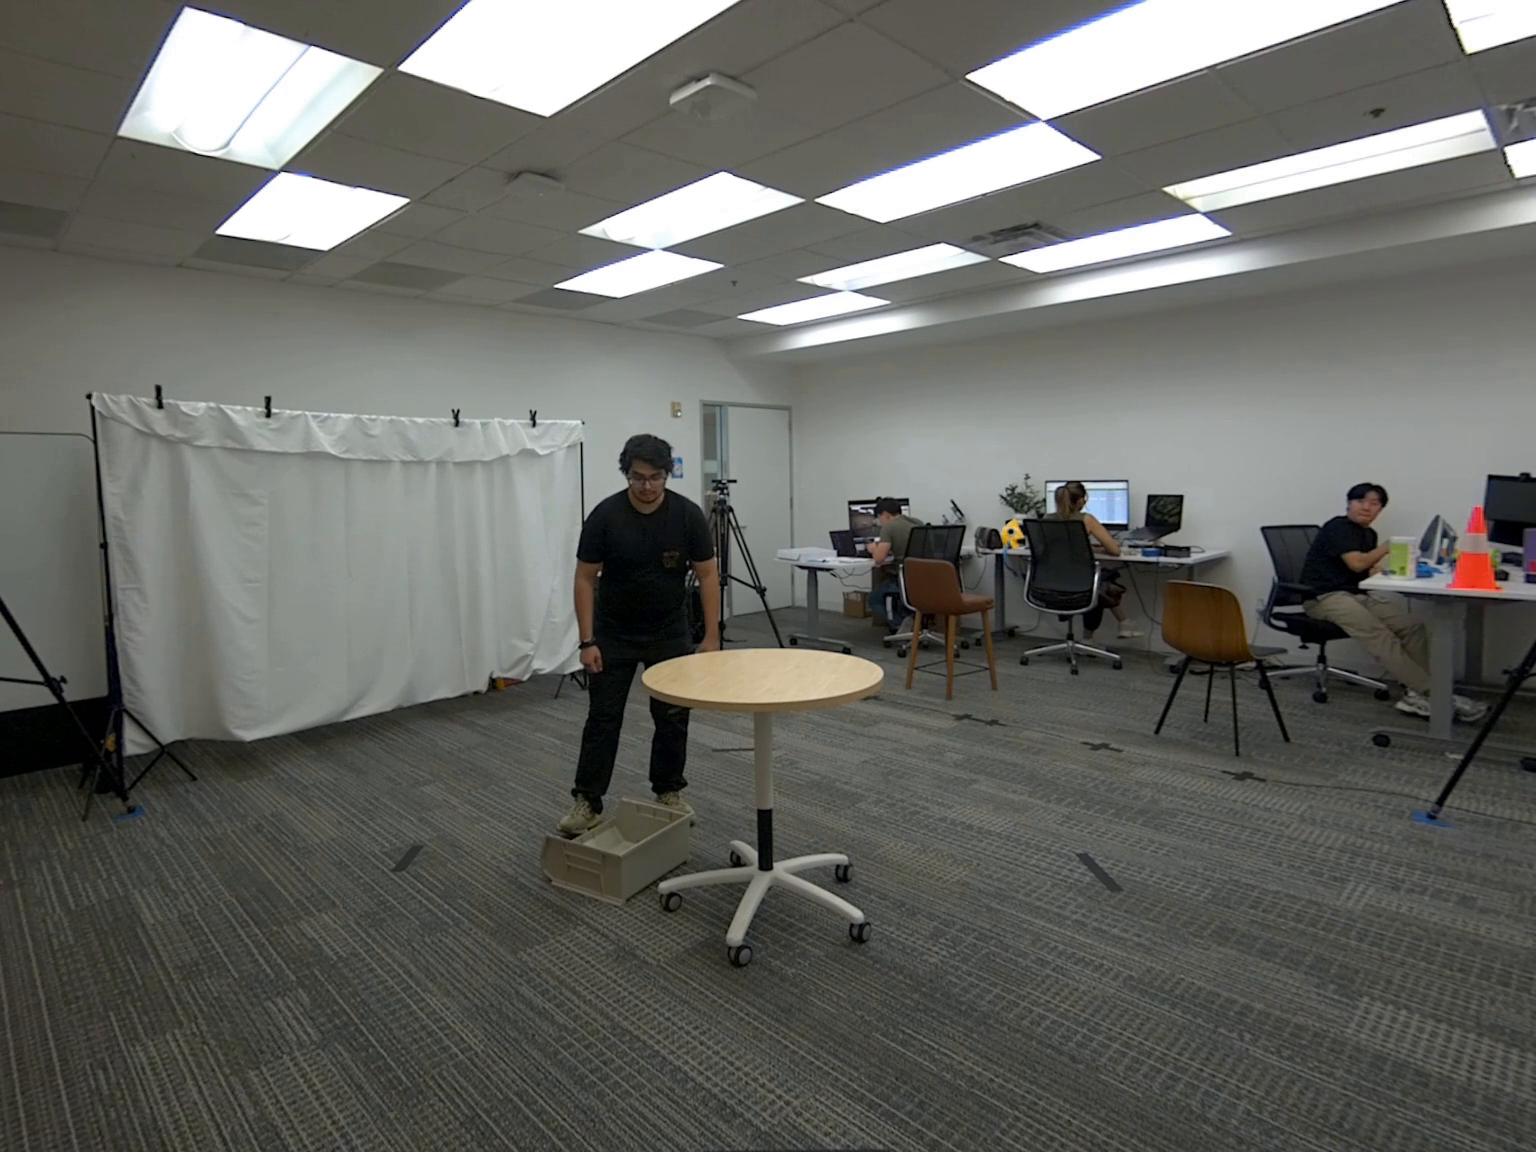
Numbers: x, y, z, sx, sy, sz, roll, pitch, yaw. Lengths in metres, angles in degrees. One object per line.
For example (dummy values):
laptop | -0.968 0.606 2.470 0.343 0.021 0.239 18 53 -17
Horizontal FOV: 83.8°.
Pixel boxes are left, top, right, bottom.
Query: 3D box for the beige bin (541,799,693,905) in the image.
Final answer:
beige bin | -0.537 0.974 3.069 0.388 0.188 0.412 4 7 31
